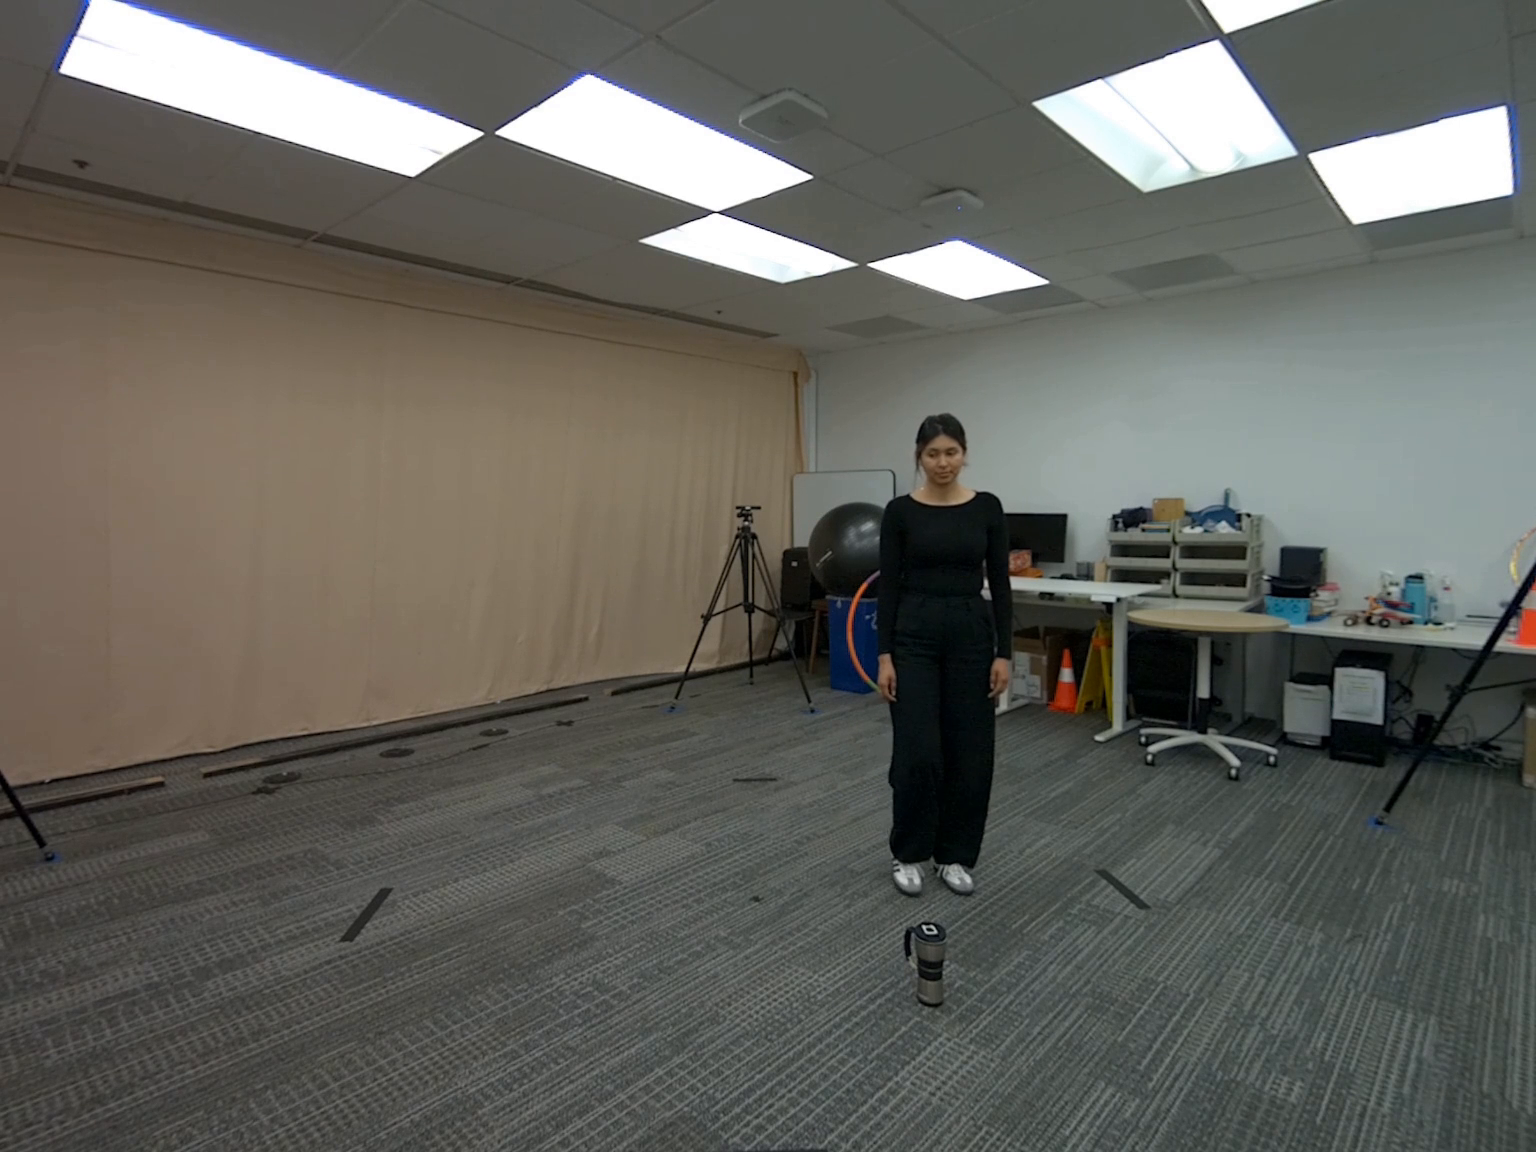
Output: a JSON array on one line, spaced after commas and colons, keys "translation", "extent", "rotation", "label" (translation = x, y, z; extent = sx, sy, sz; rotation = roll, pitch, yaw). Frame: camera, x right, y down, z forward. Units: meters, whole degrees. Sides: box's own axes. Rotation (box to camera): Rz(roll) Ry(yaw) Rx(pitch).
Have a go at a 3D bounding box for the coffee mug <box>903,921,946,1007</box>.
[{"translation": [0.458, 1.095, 2.384], "extent": [0.086, 0.202, 0.125], "rotation": [-4, 8, -22], "label": "coffee mug"}]
